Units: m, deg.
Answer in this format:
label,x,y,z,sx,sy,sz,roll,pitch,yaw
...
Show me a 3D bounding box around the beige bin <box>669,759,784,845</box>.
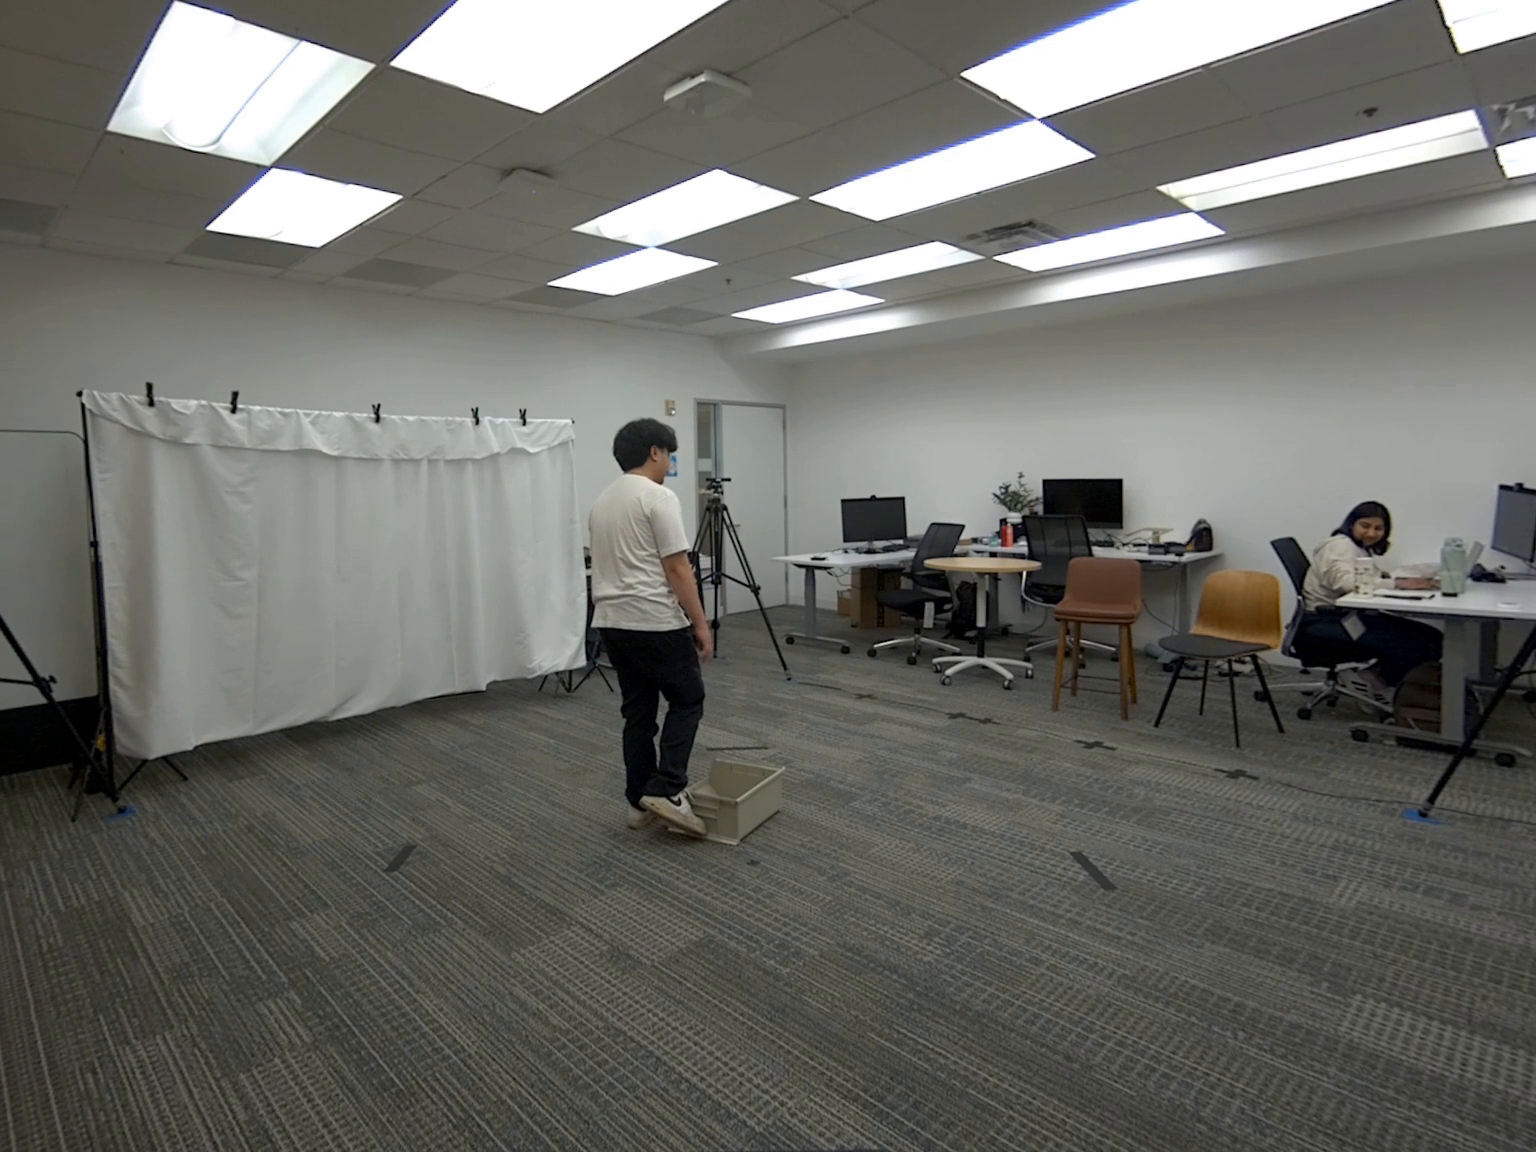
label,x,y,z,sx,sy,sz,roll,pitch,yaw
beige bin,-0.187,0.906,3.511,0.387,0.188,0.413,4,7,28
